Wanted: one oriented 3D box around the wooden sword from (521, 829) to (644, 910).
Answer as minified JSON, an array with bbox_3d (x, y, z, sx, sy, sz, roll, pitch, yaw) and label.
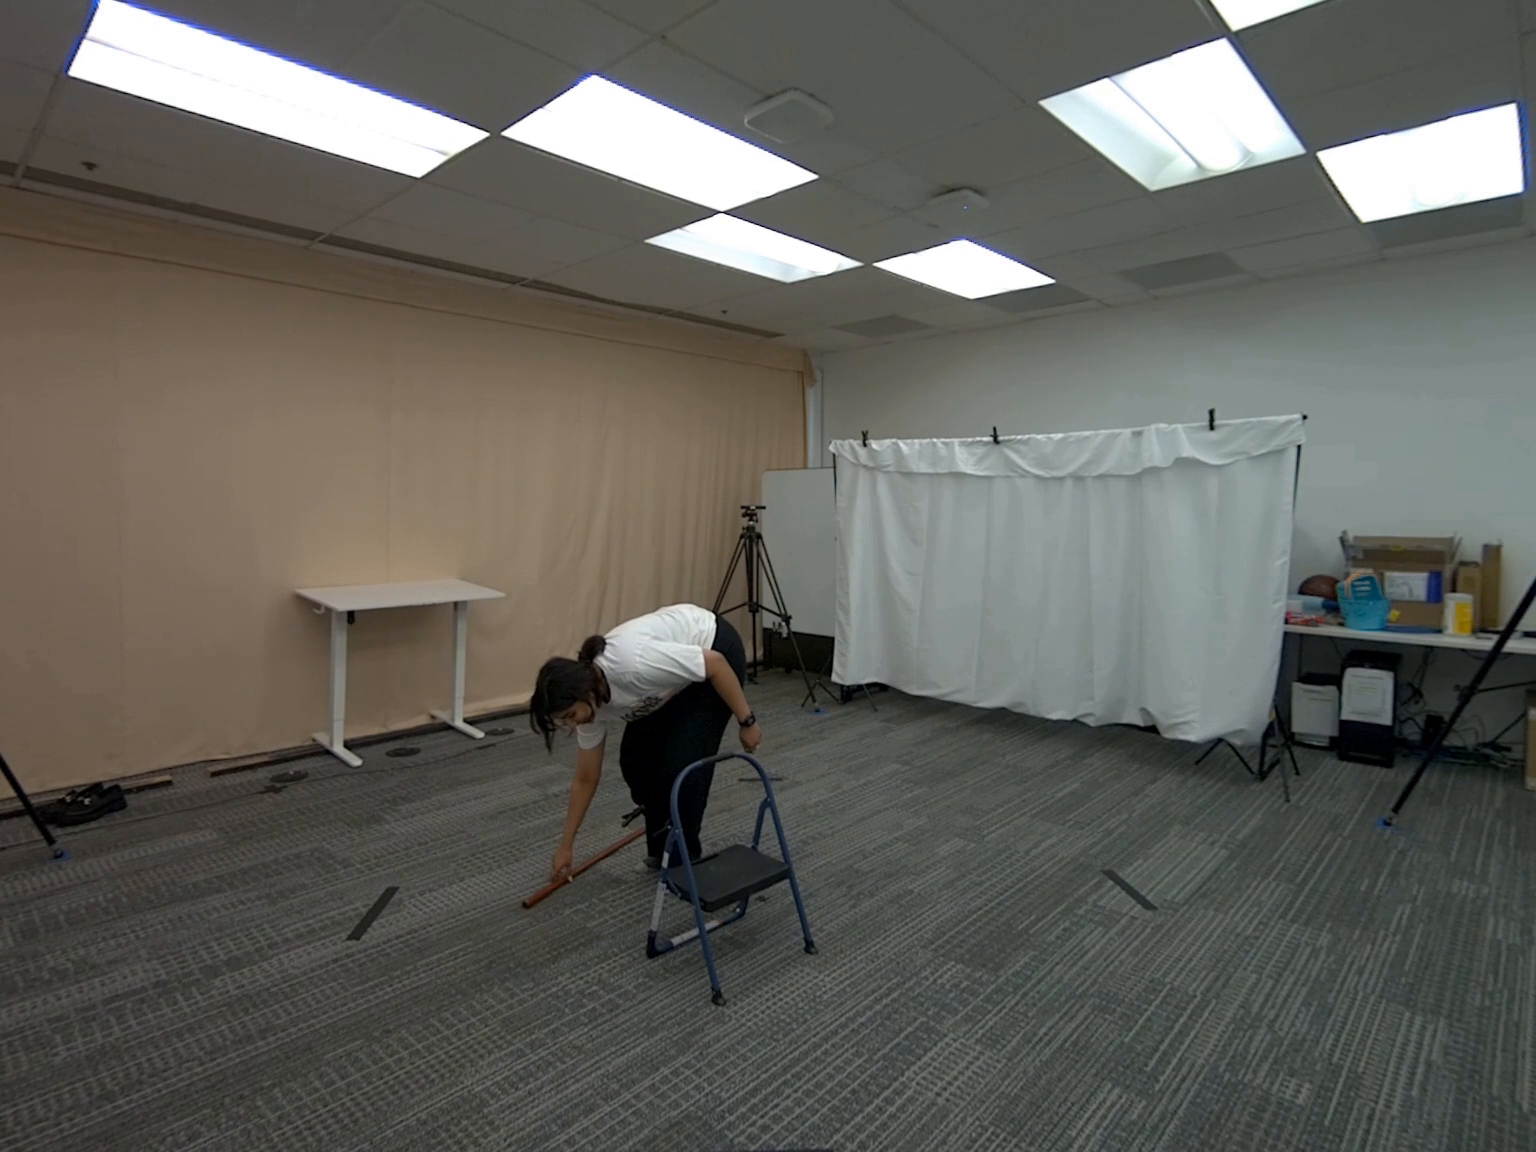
[{"bbox_3d":[-0.628,1.095,3.370,0.053,0.024,1.000,31,18,21],"label":"wooden sword"}]
